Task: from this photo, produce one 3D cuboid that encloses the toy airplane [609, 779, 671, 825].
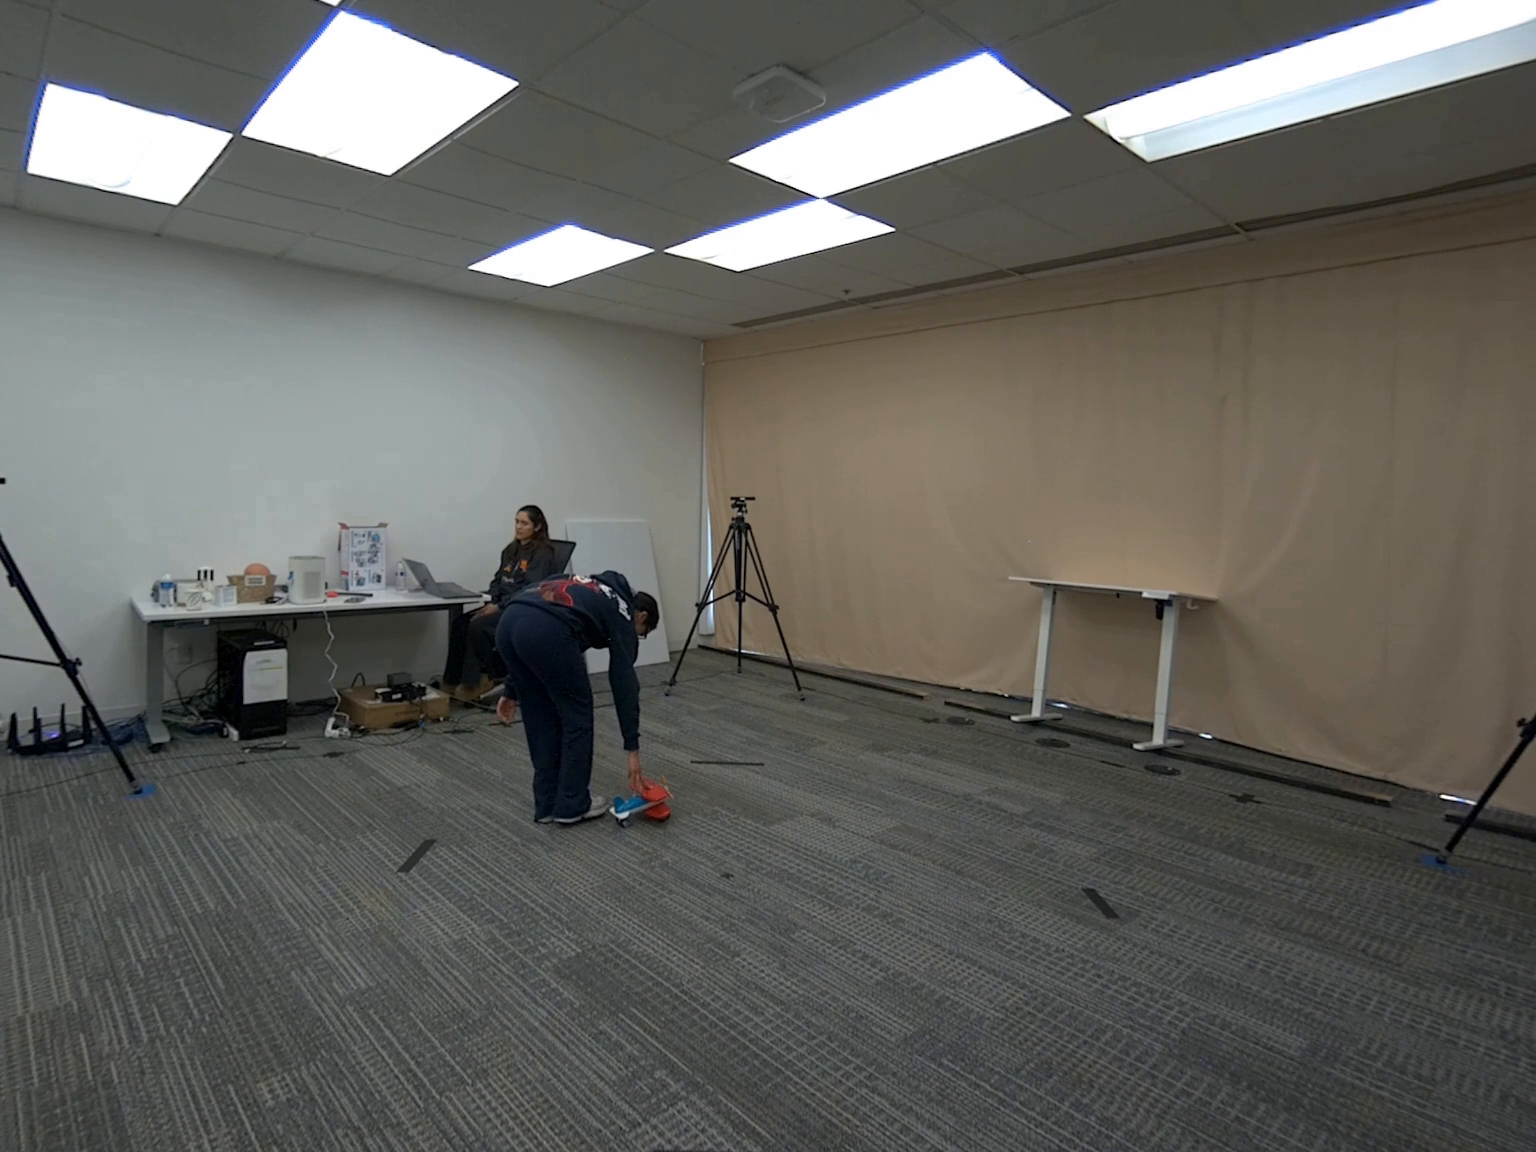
[{"bbox_3d":[-0.540,0.980,3.592,0.256,0.156,0.254,3,3,25],"label":"toy airplane"}]
